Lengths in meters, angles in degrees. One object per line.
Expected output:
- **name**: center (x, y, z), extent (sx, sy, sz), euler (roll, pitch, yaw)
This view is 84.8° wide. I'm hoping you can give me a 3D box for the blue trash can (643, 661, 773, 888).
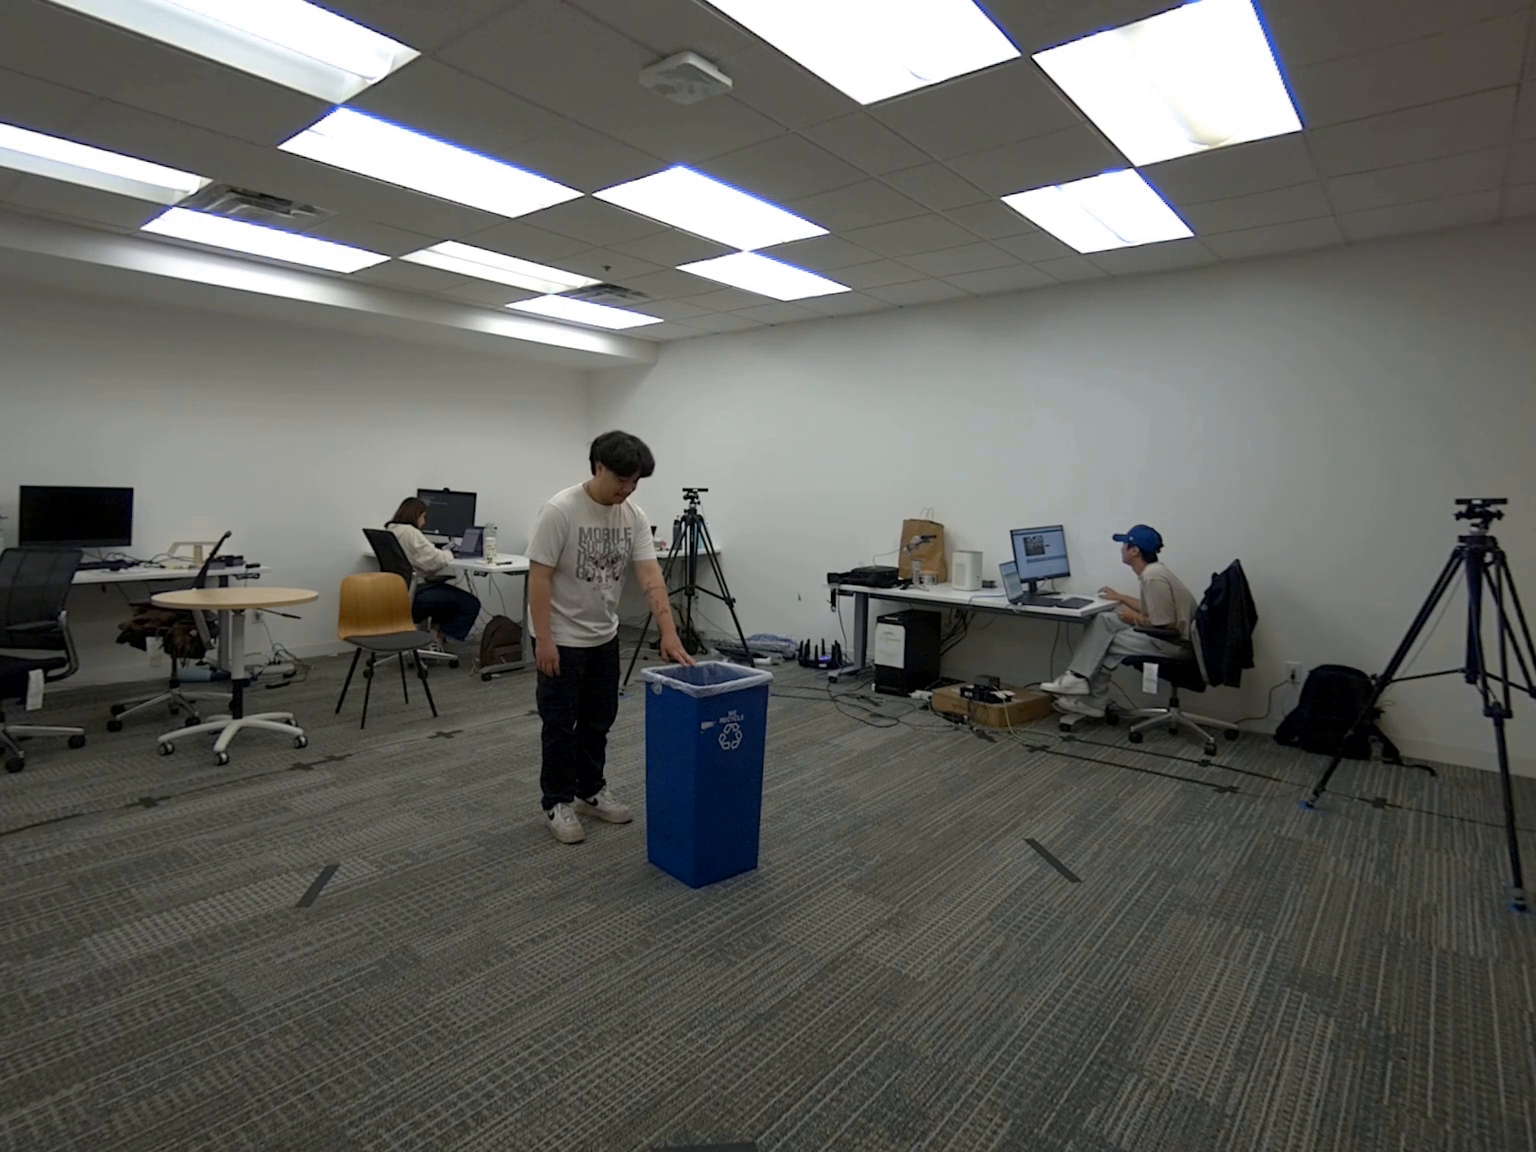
- **blue trash can**: center (-0.239, 0.706, 3.145), extent (0.363, 0.712, 0.391), euler (-2, 4, -41)
